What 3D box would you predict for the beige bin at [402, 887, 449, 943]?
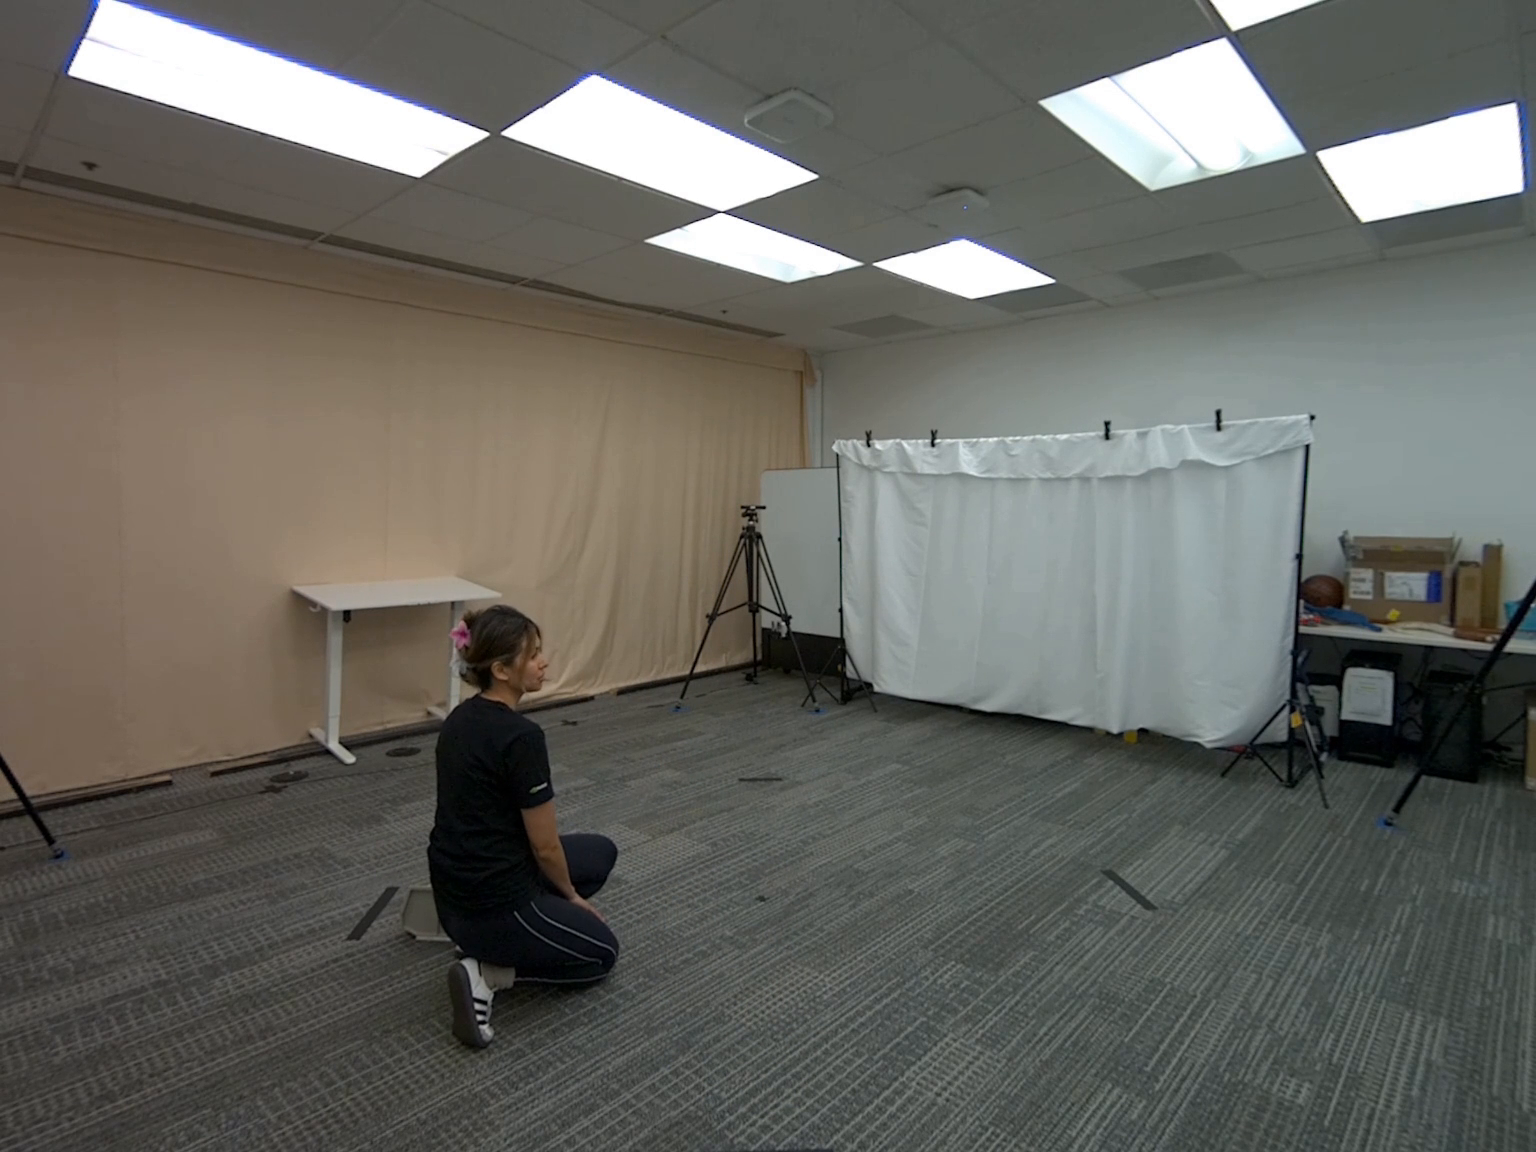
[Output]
[{"bbox_3d":[-1.008,1.076,2.900,0.379,0.188,0.421,1,4,3],"label":"beige bin"}]
